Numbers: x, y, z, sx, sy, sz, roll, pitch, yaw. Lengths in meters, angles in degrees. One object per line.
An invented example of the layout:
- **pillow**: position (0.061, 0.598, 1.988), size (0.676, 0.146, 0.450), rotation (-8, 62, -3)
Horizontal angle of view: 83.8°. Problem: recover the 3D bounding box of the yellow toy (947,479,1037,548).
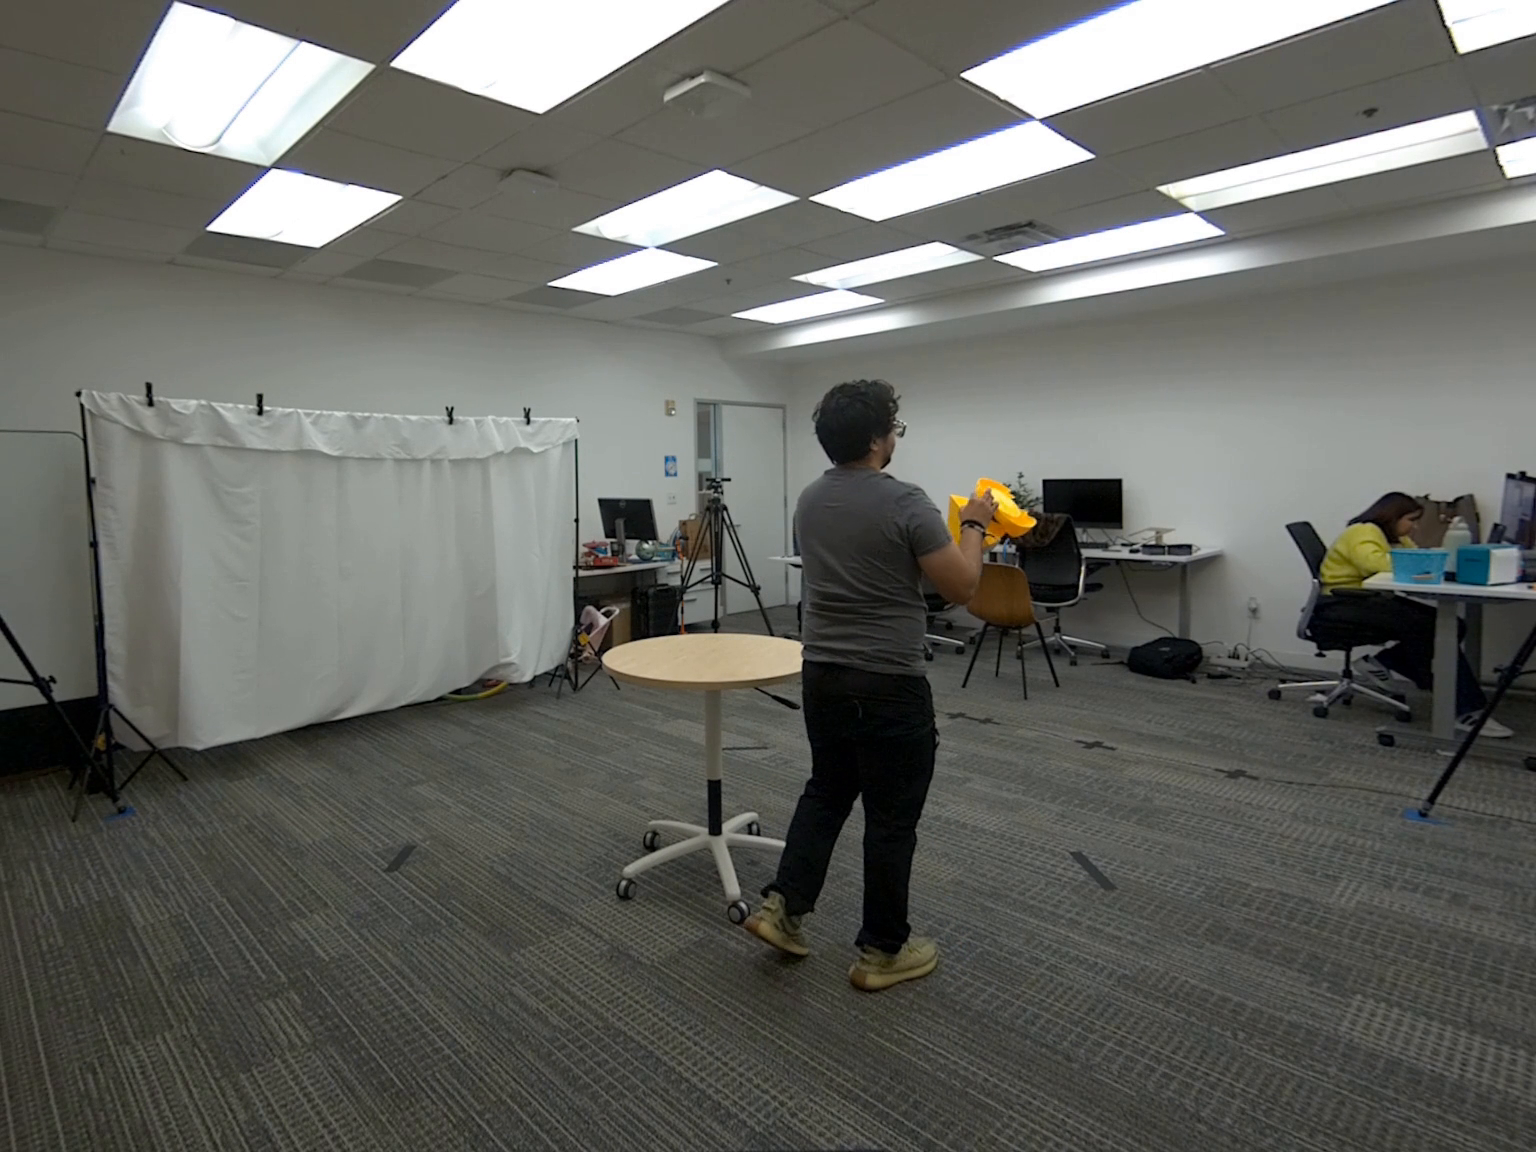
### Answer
- **yellow toy**: position (0.638, -0.139, 2.560), size (0.187, 0.212, 0.229), rotation (3, -44, -40)
